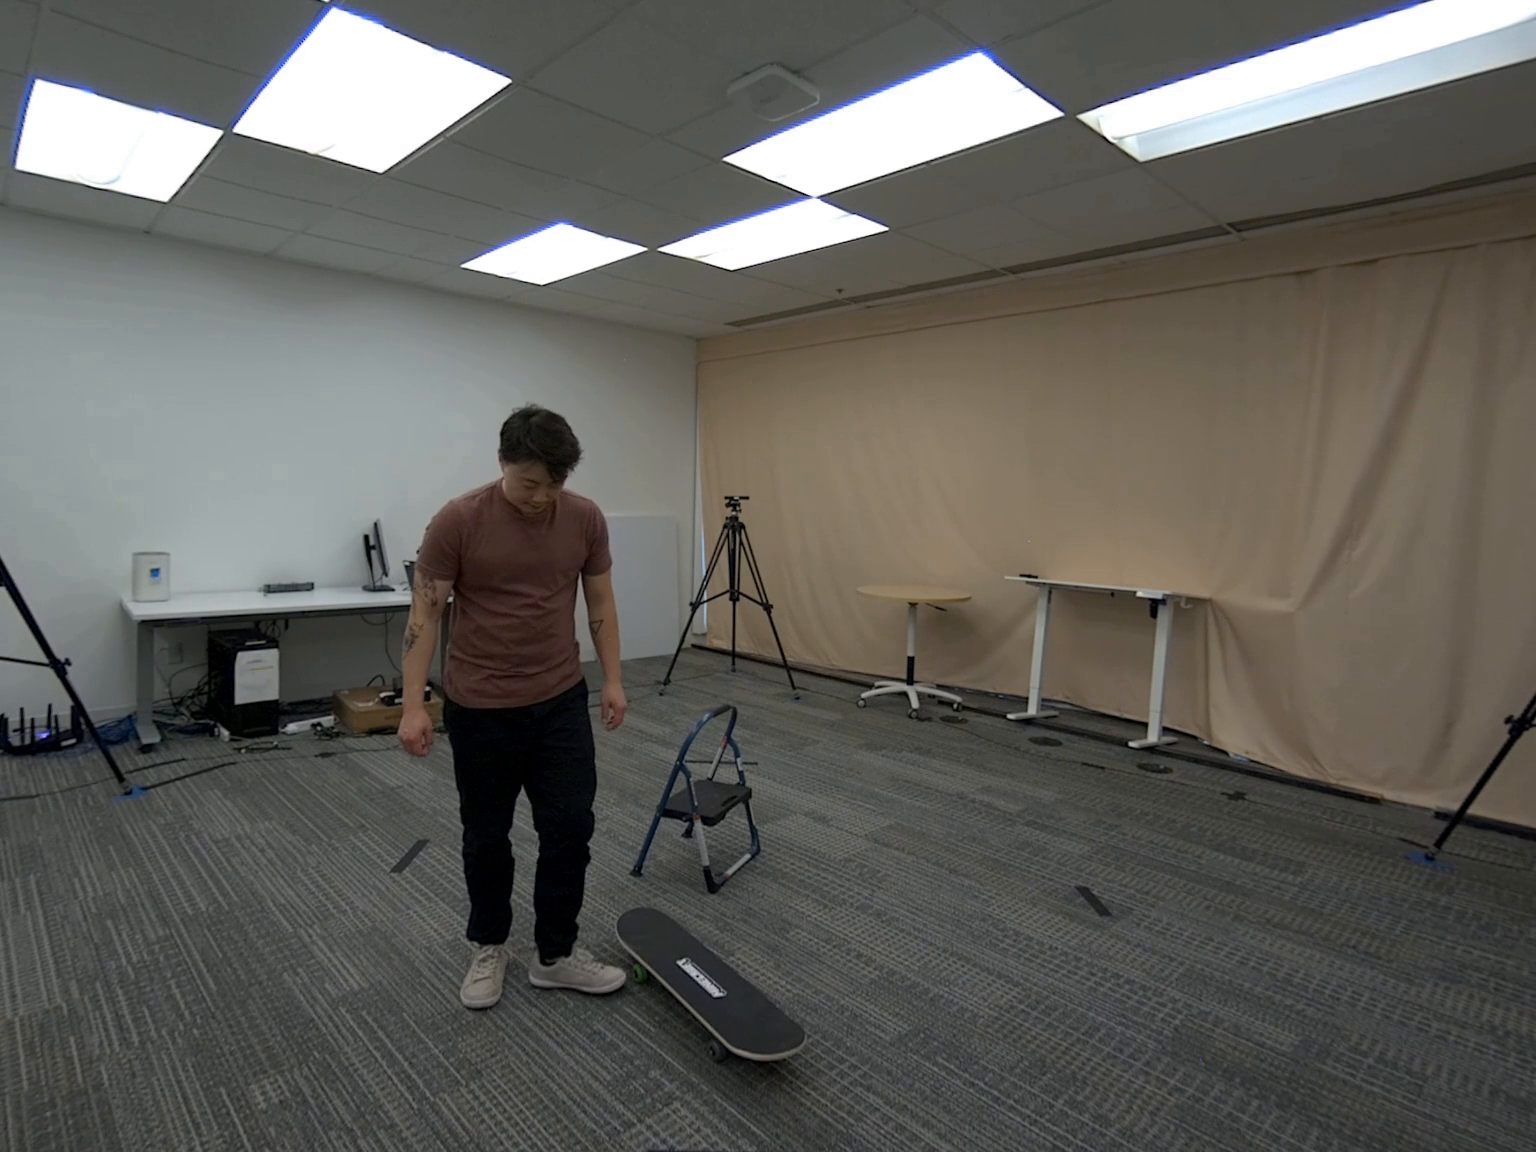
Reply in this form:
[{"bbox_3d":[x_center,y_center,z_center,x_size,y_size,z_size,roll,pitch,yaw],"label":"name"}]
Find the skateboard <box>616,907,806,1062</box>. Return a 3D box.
[{"bbox_3d":[-0.196,1.128,2.285,0.189,0.110,0.805,-3,7,-36],"label":"skateboard"}]
